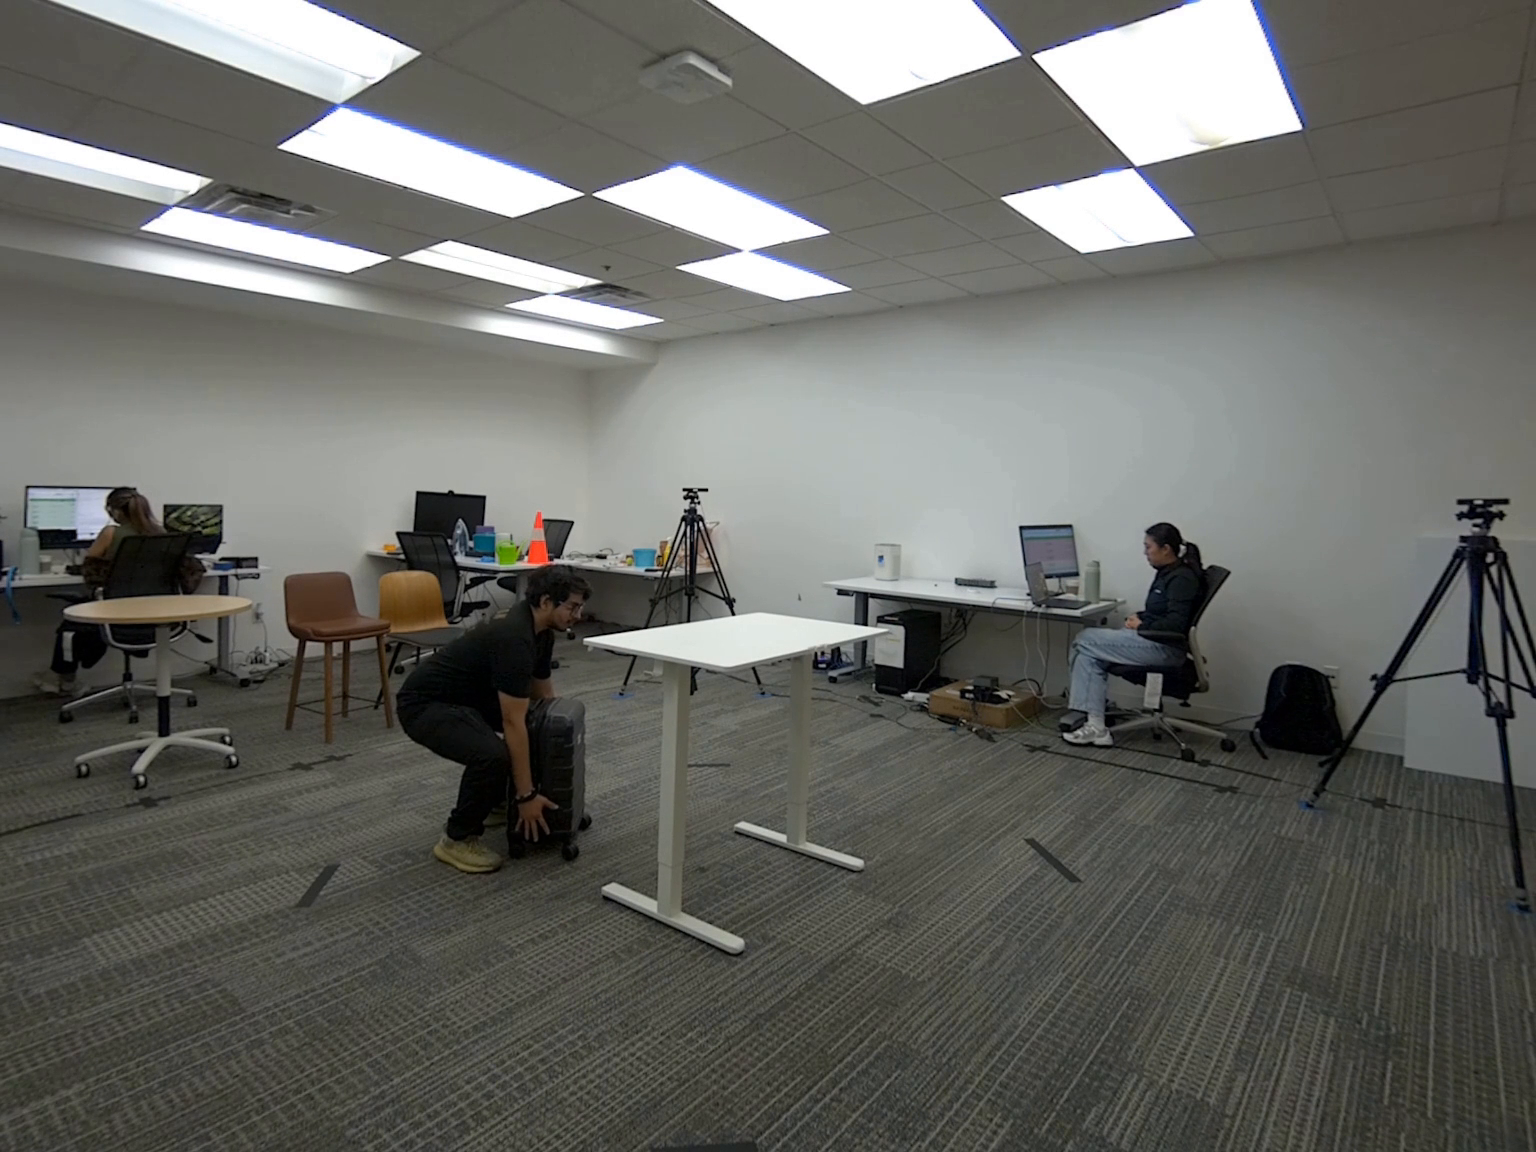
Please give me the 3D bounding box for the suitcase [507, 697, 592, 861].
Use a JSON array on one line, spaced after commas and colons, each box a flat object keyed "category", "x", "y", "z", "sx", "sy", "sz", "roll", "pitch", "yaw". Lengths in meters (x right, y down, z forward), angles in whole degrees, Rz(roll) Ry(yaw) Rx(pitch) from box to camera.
[{"category": "suitcase", "x": -0.874, "y": 0.764, "z": 3.319, "sx": 0.248, "sy": 0.548, "sz": 0.377, "roll": 0, "pitch": 2, "yaw": -3}]
